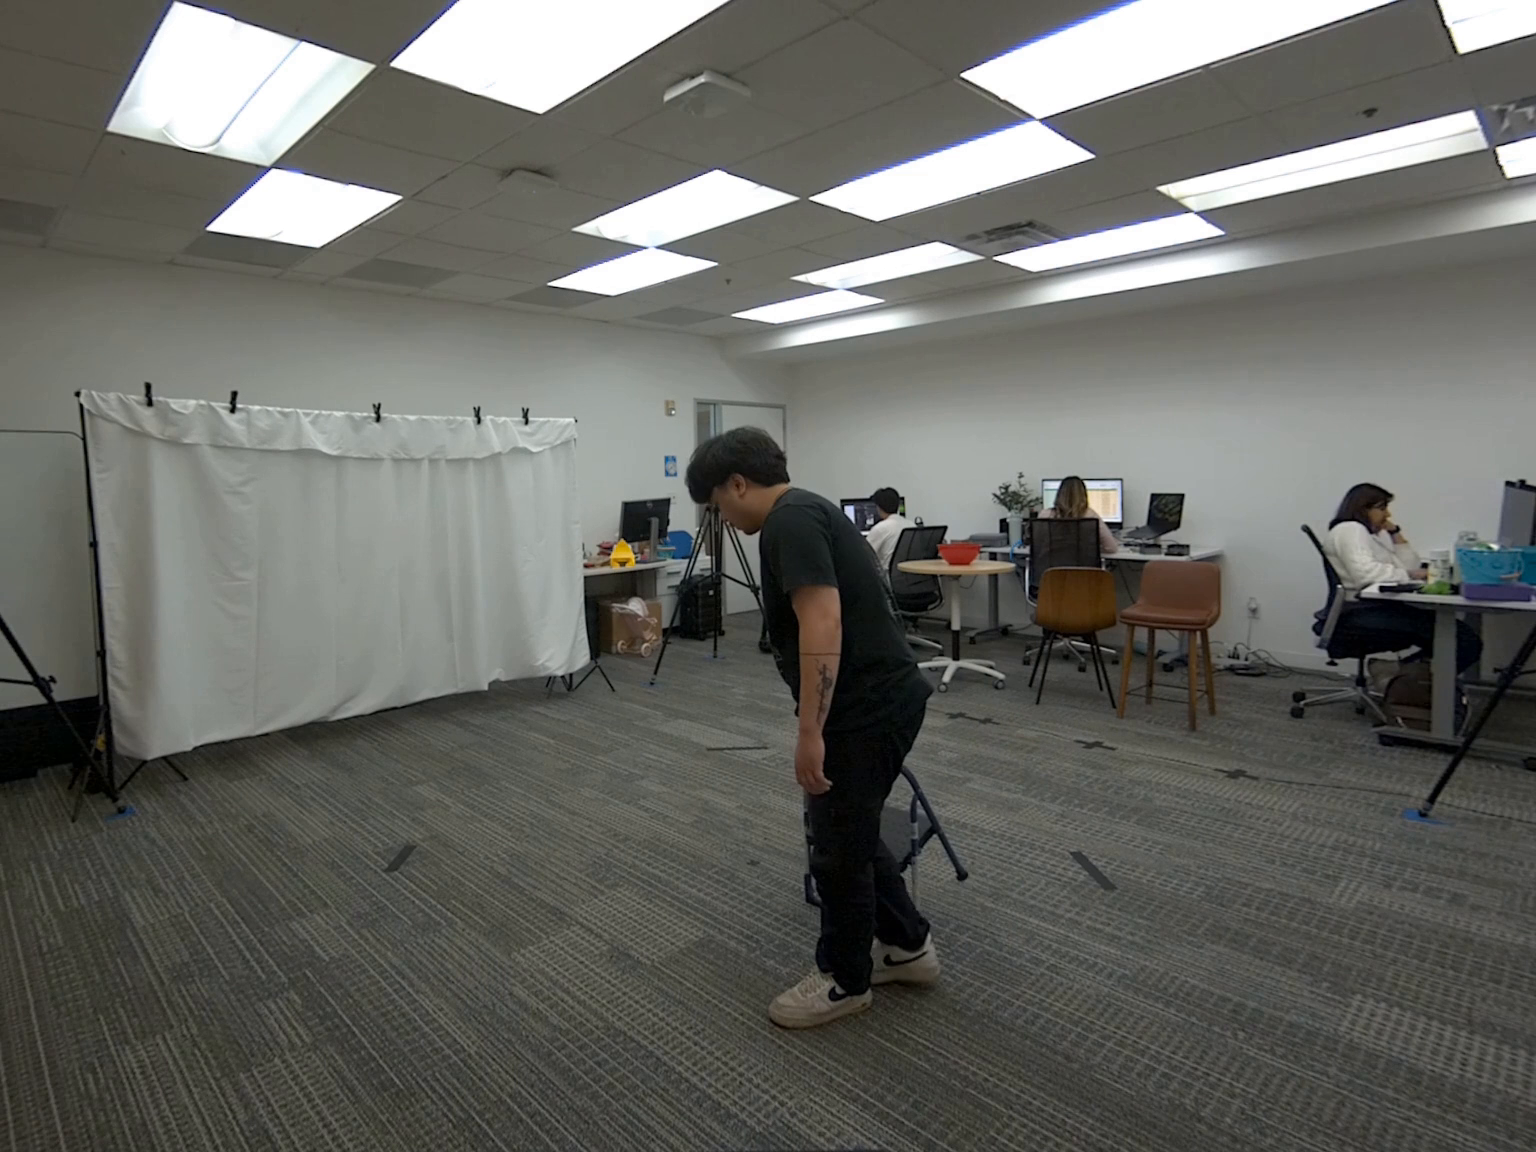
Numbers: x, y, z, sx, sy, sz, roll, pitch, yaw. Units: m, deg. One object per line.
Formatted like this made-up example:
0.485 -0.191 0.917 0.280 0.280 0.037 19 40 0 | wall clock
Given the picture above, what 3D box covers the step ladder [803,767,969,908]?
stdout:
0.332 0.746 2.719 0.443 0.595 0.345 3 23 40 | step ladder
